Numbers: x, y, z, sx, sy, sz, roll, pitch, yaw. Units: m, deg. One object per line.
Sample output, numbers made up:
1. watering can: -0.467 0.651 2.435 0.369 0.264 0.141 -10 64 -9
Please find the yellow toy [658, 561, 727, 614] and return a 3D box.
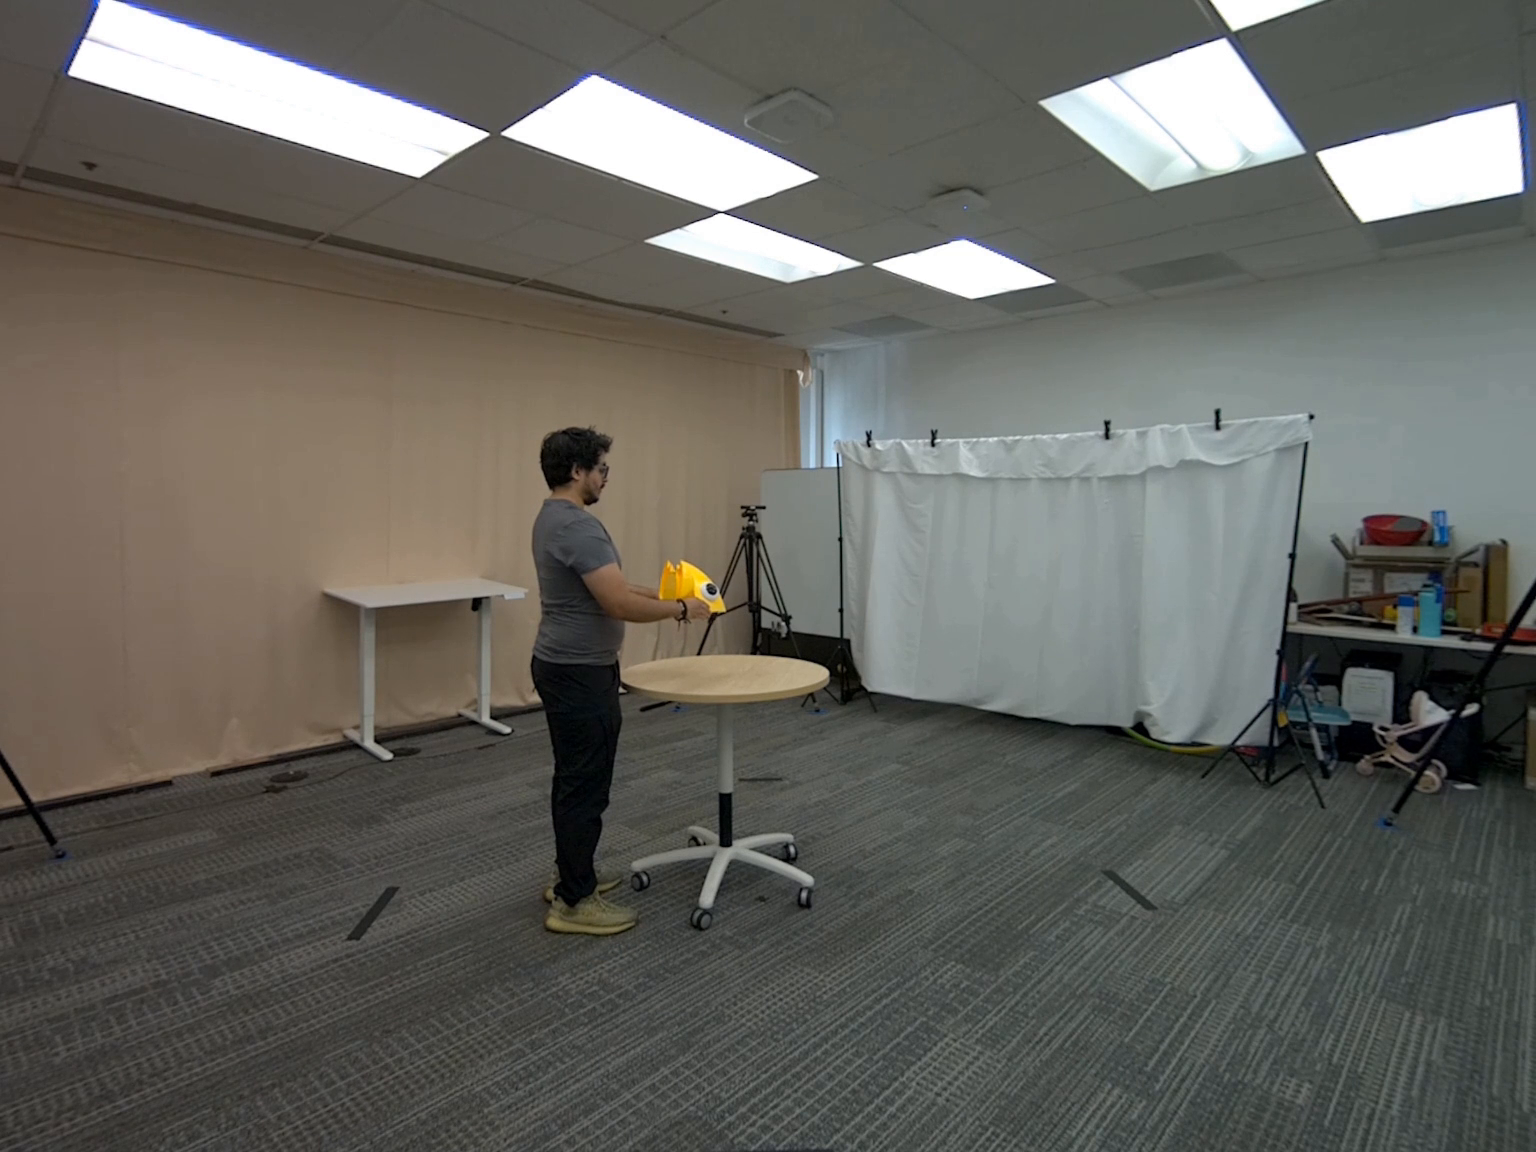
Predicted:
1. yellow toy: -0.246 0.056 3.008 0.225 0.193 0.210 10 -4 -25
